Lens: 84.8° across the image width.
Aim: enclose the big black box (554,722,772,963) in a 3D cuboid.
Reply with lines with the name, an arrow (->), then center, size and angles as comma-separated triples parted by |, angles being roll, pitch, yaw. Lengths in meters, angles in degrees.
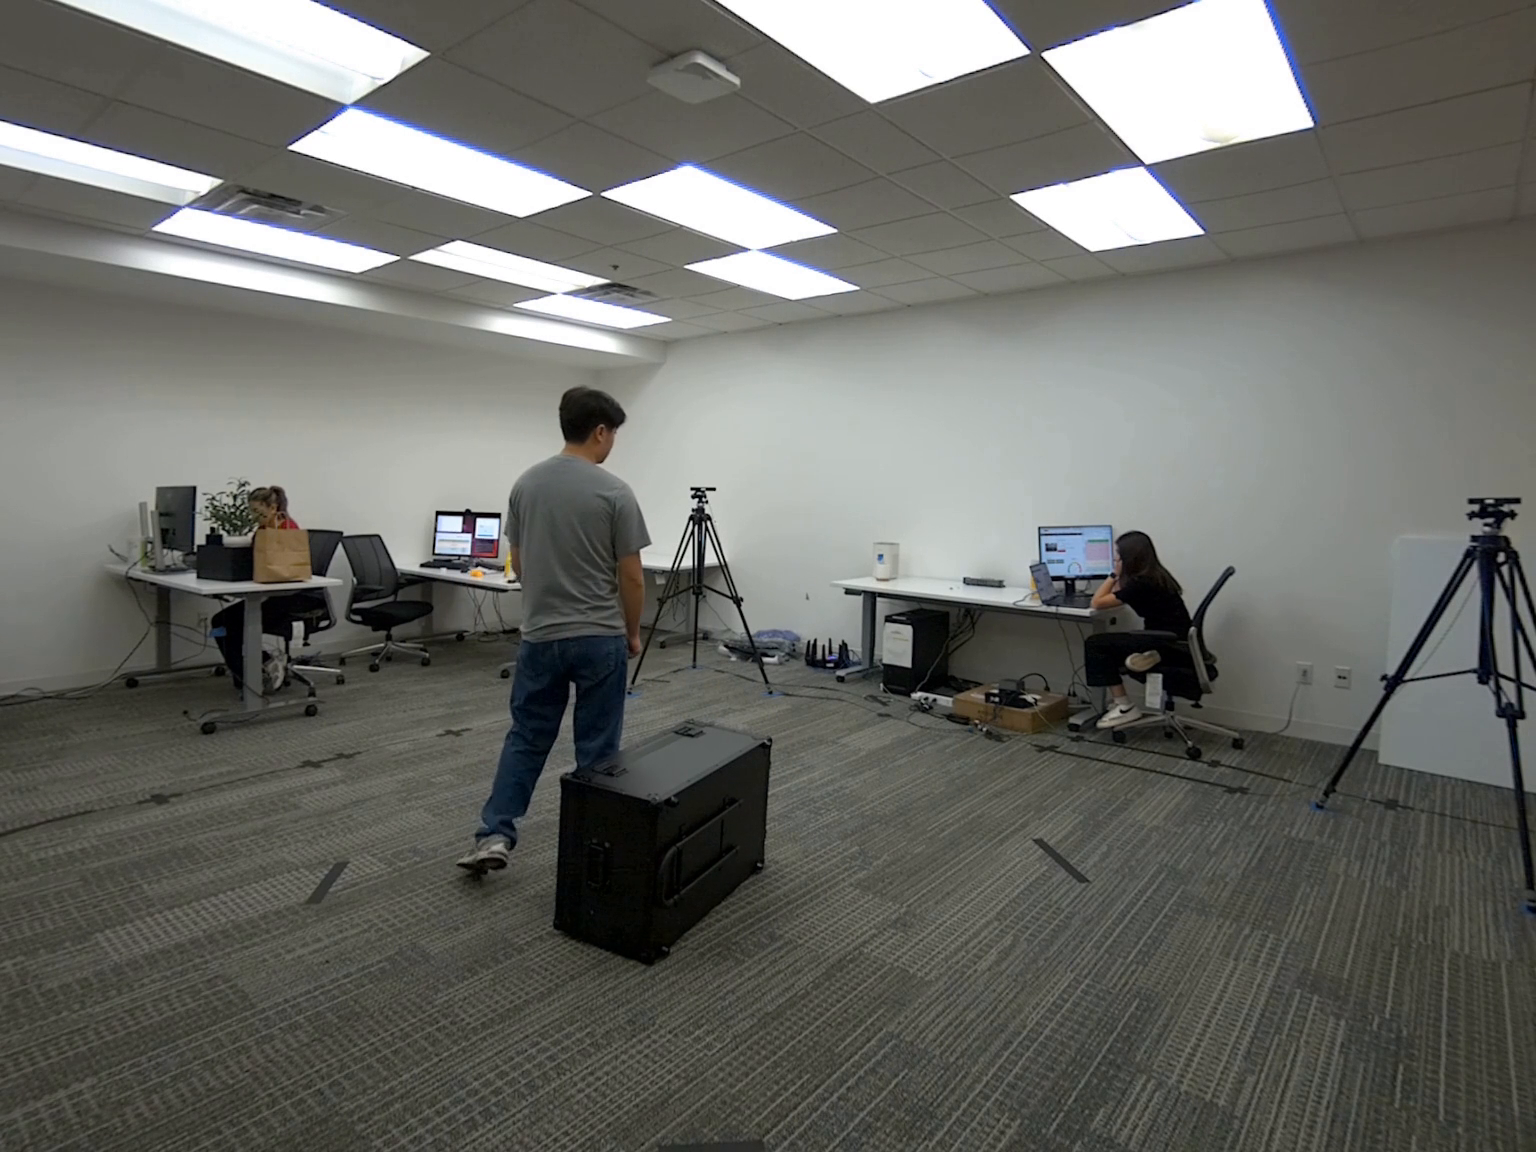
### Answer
big black box -> -0.304, 0.830, 2.885 | 0.407, 0.519, 0.842 | 5, 6, 25
